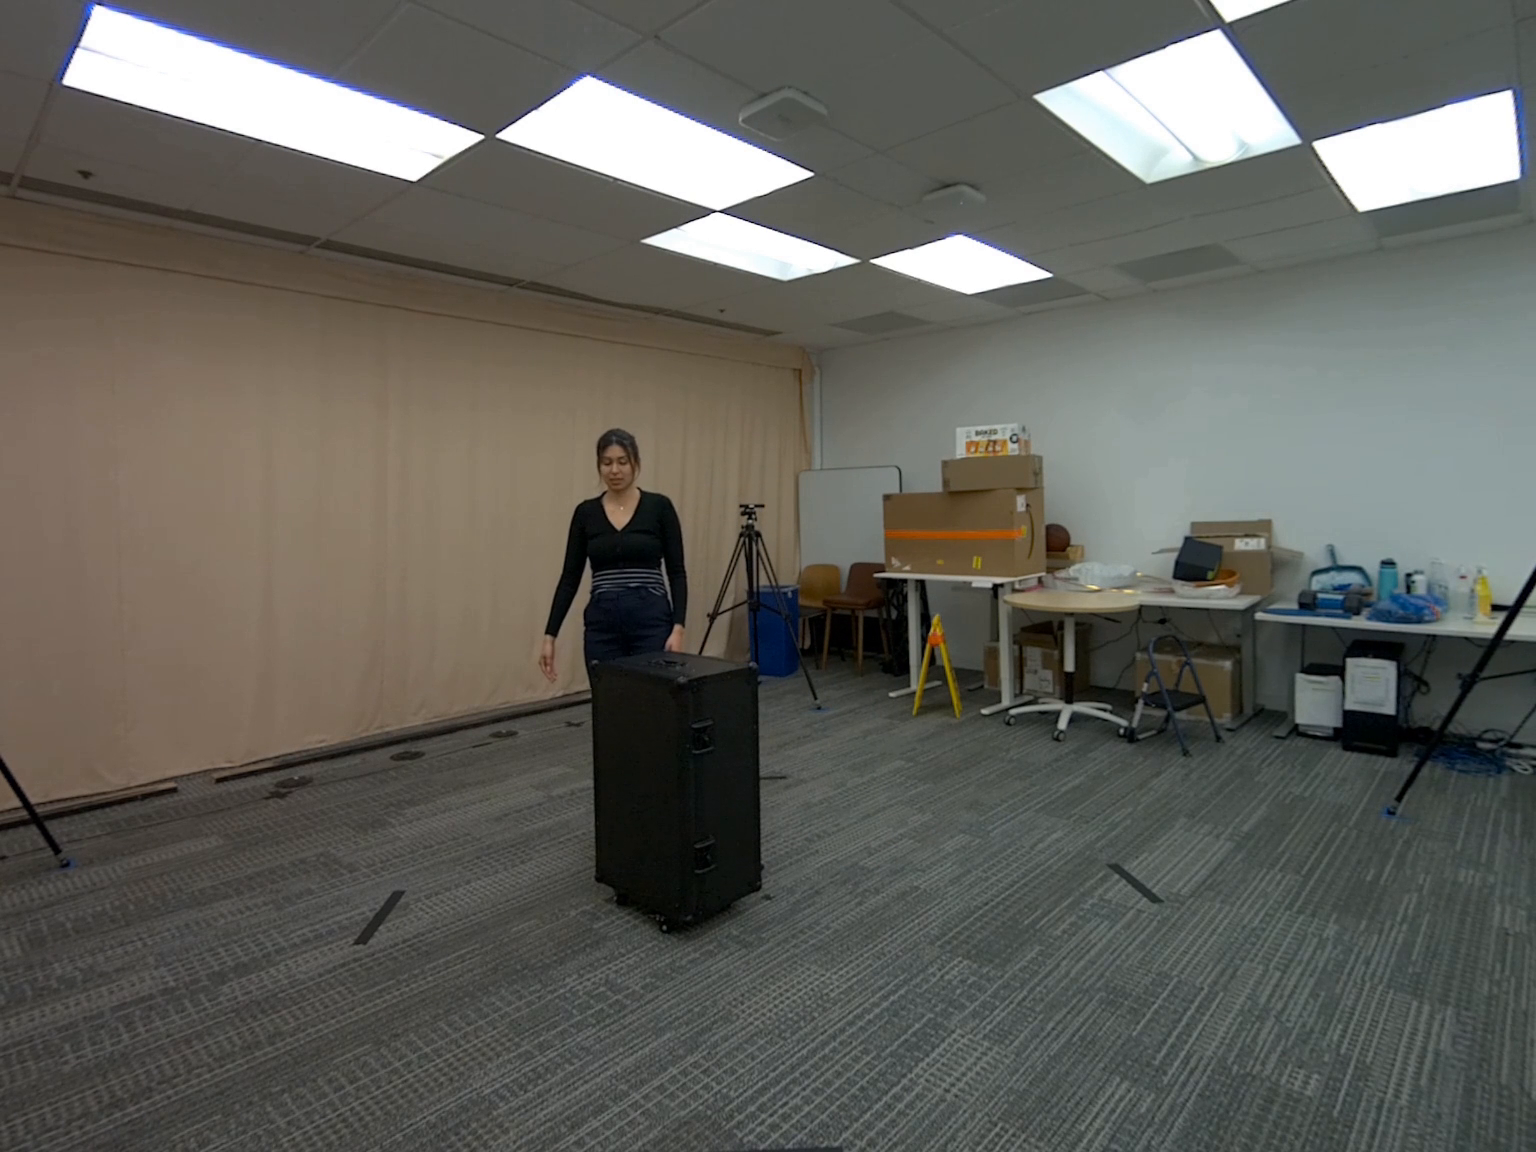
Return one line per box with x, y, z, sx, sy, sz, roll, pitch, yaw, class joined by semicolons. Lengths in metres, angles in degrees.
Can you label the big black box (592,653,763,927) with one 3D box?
-0.307;0.670;2.924;0.538;0.860;0.384;2;4;44;big black box
